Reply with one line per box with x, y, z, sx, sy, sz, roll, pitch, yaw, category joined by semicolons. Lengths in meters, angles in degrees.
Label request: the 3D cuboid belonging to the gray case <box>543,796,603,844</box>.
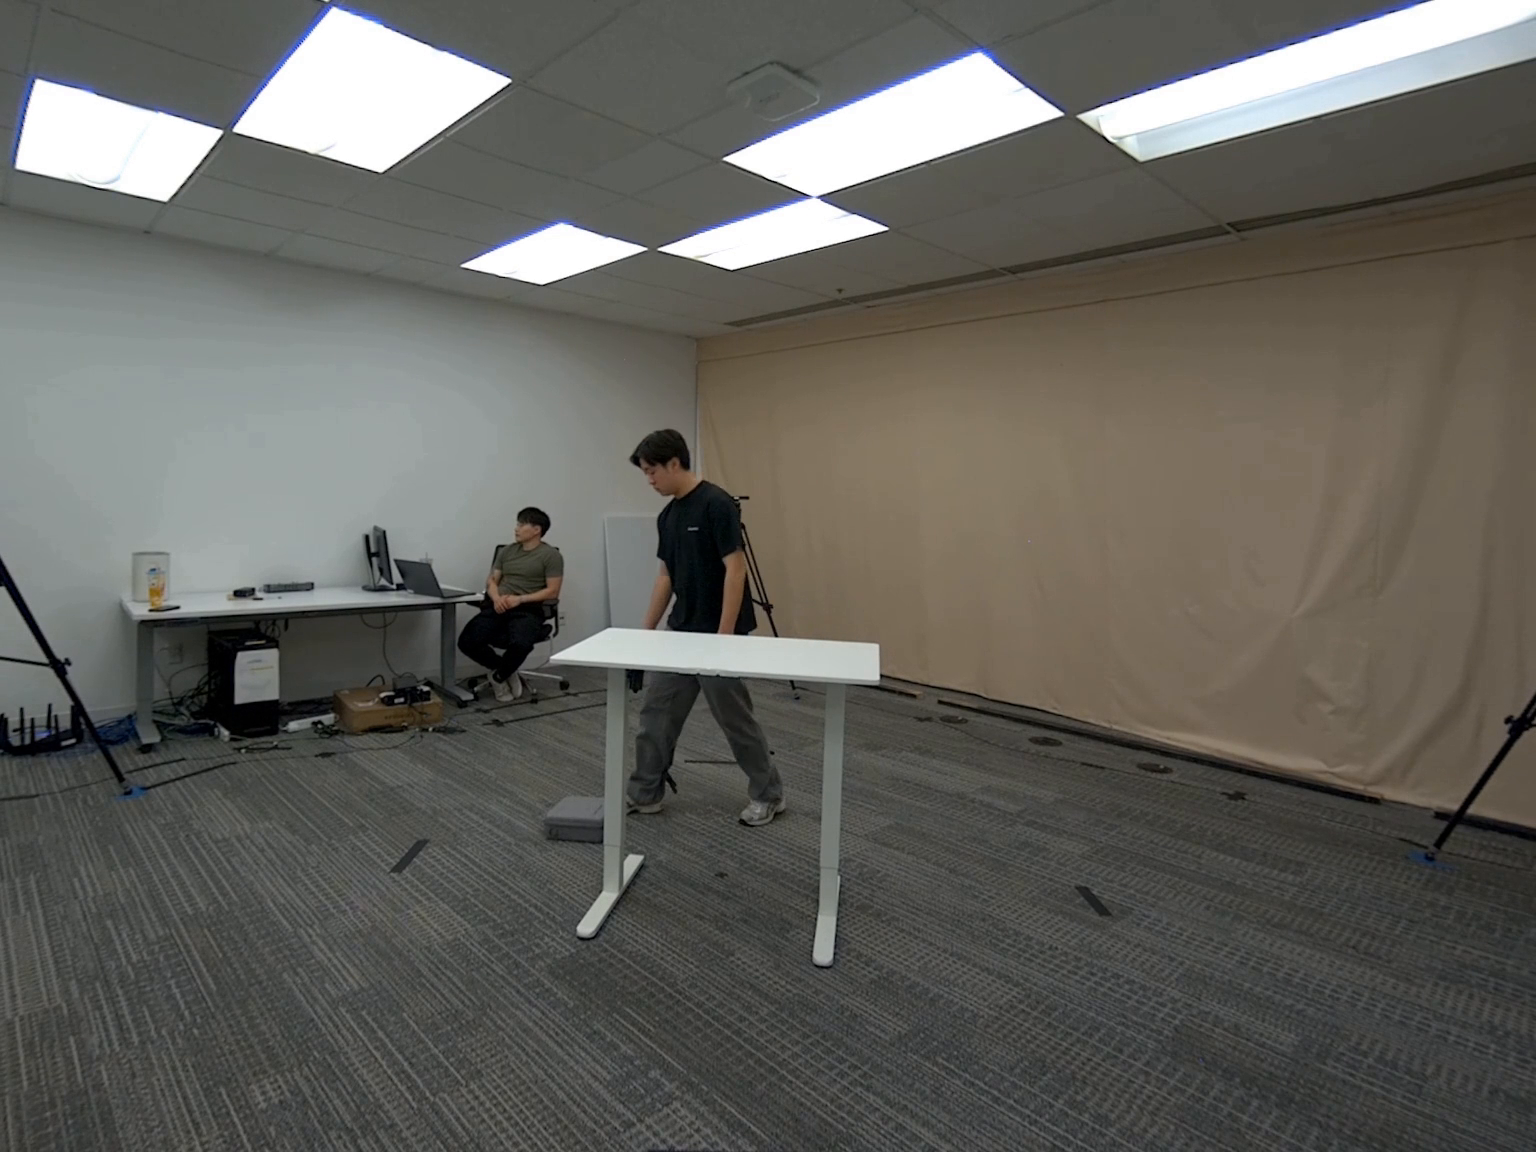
-0.786;1.001;3.484;0.289;0.103;0.262;2;6;9;gray case
